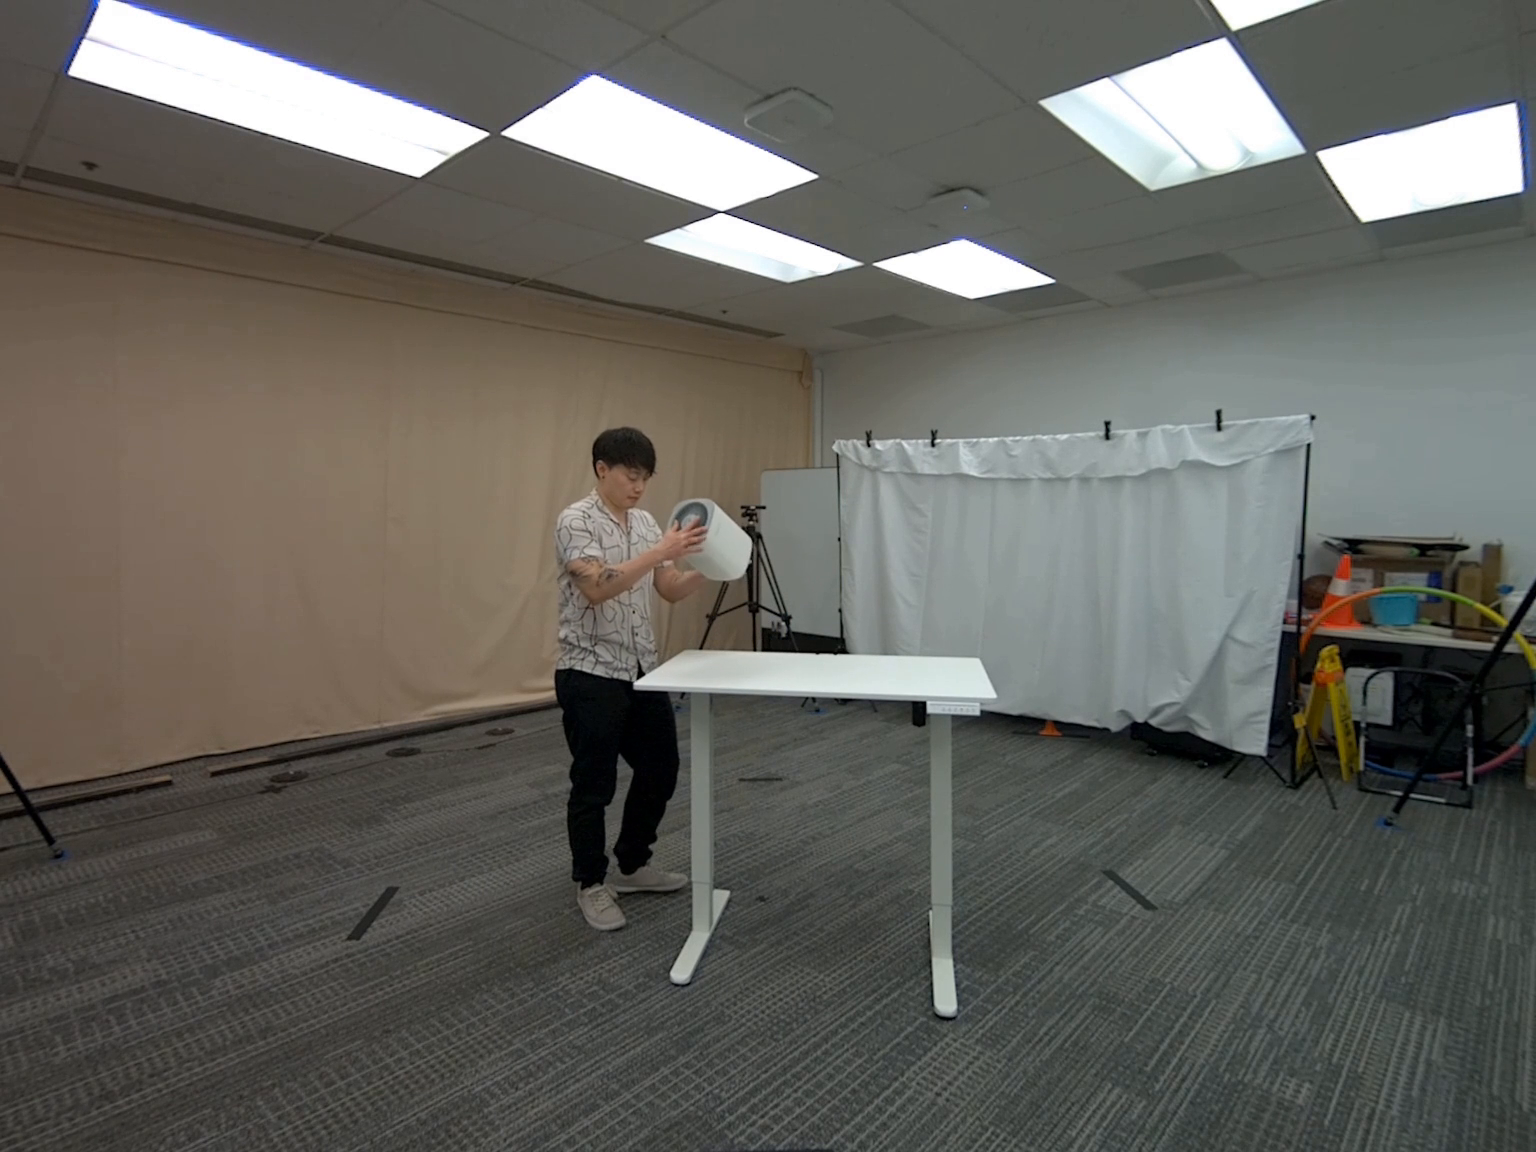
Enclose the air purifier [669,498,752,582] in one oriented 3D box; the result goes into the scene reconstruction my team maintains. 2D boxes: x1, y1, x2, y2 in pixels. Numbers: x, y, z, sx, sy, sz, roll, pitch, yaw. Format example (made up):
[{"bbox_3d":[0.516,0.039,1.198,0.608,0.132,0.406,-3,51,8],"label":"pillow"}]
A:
[{"bbox_3d":[-0.182,-0.108,2.731,0.177,0.172,0.256,0,-27,34],"label":"air purifier"}]
